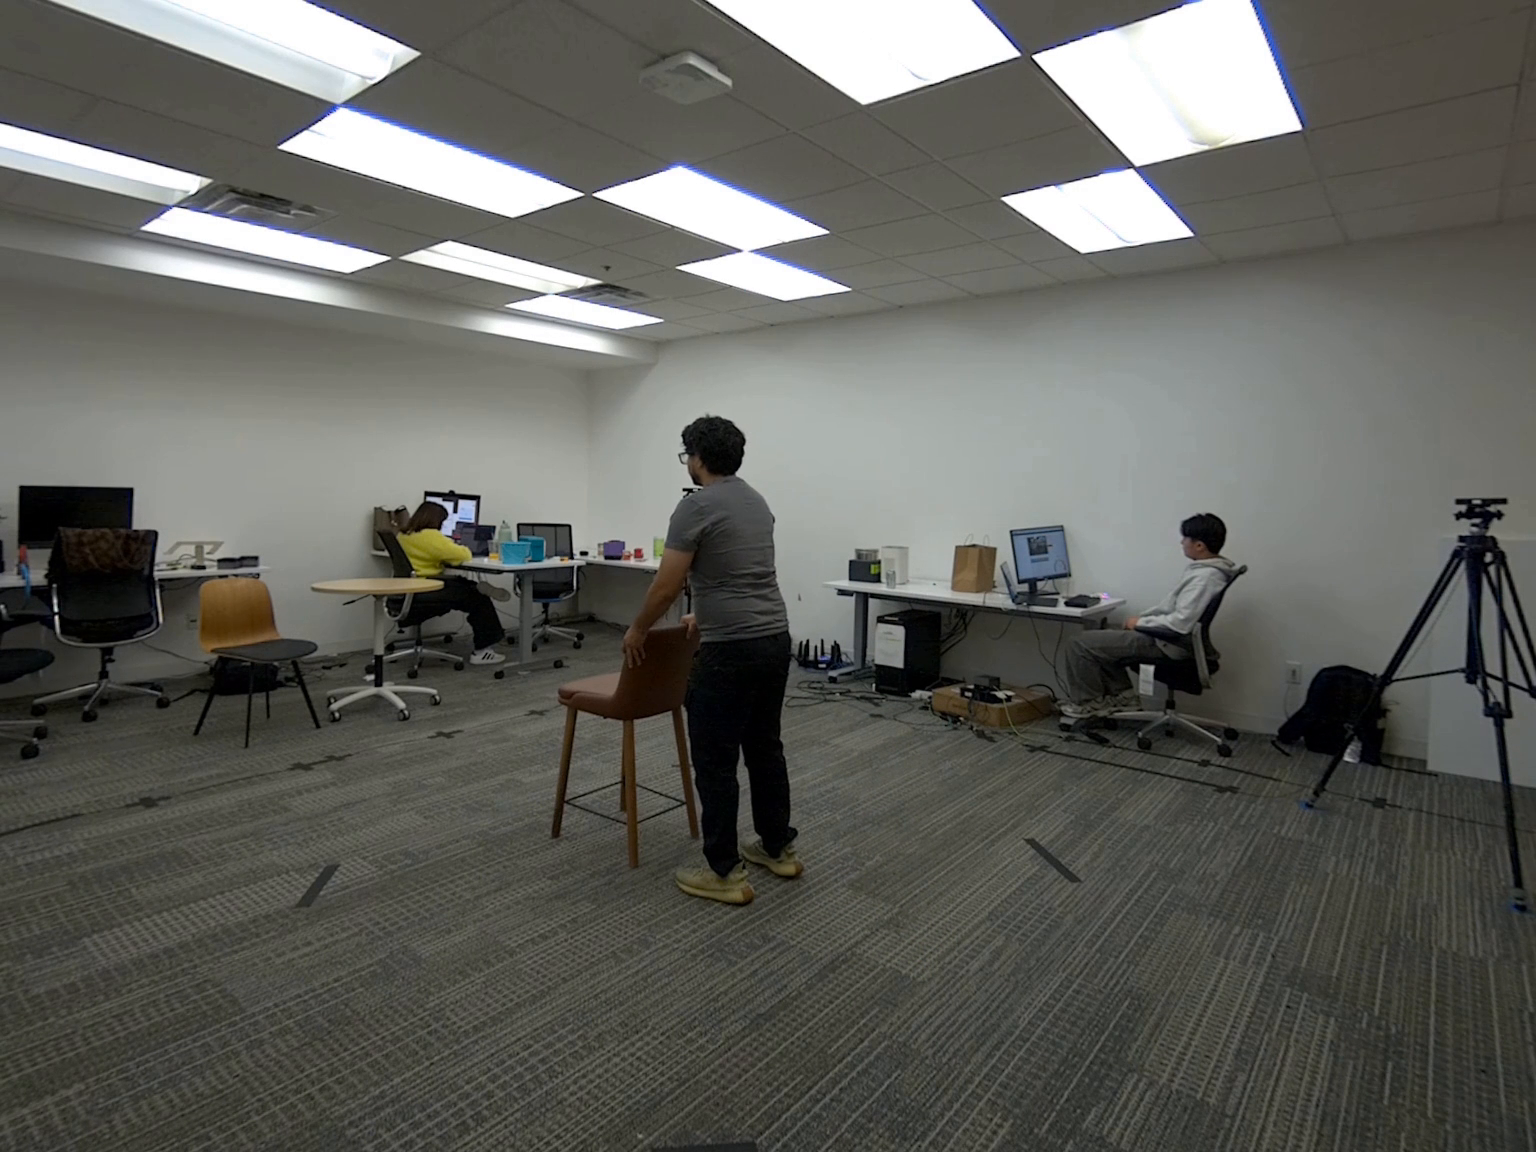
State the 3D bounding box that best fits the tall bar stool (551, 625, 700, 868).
[{"bbox_3d":[-0.557,0.601,3.365,0.483,0.887,0.443,6,5,38],"label":"tall bar stool"}]
